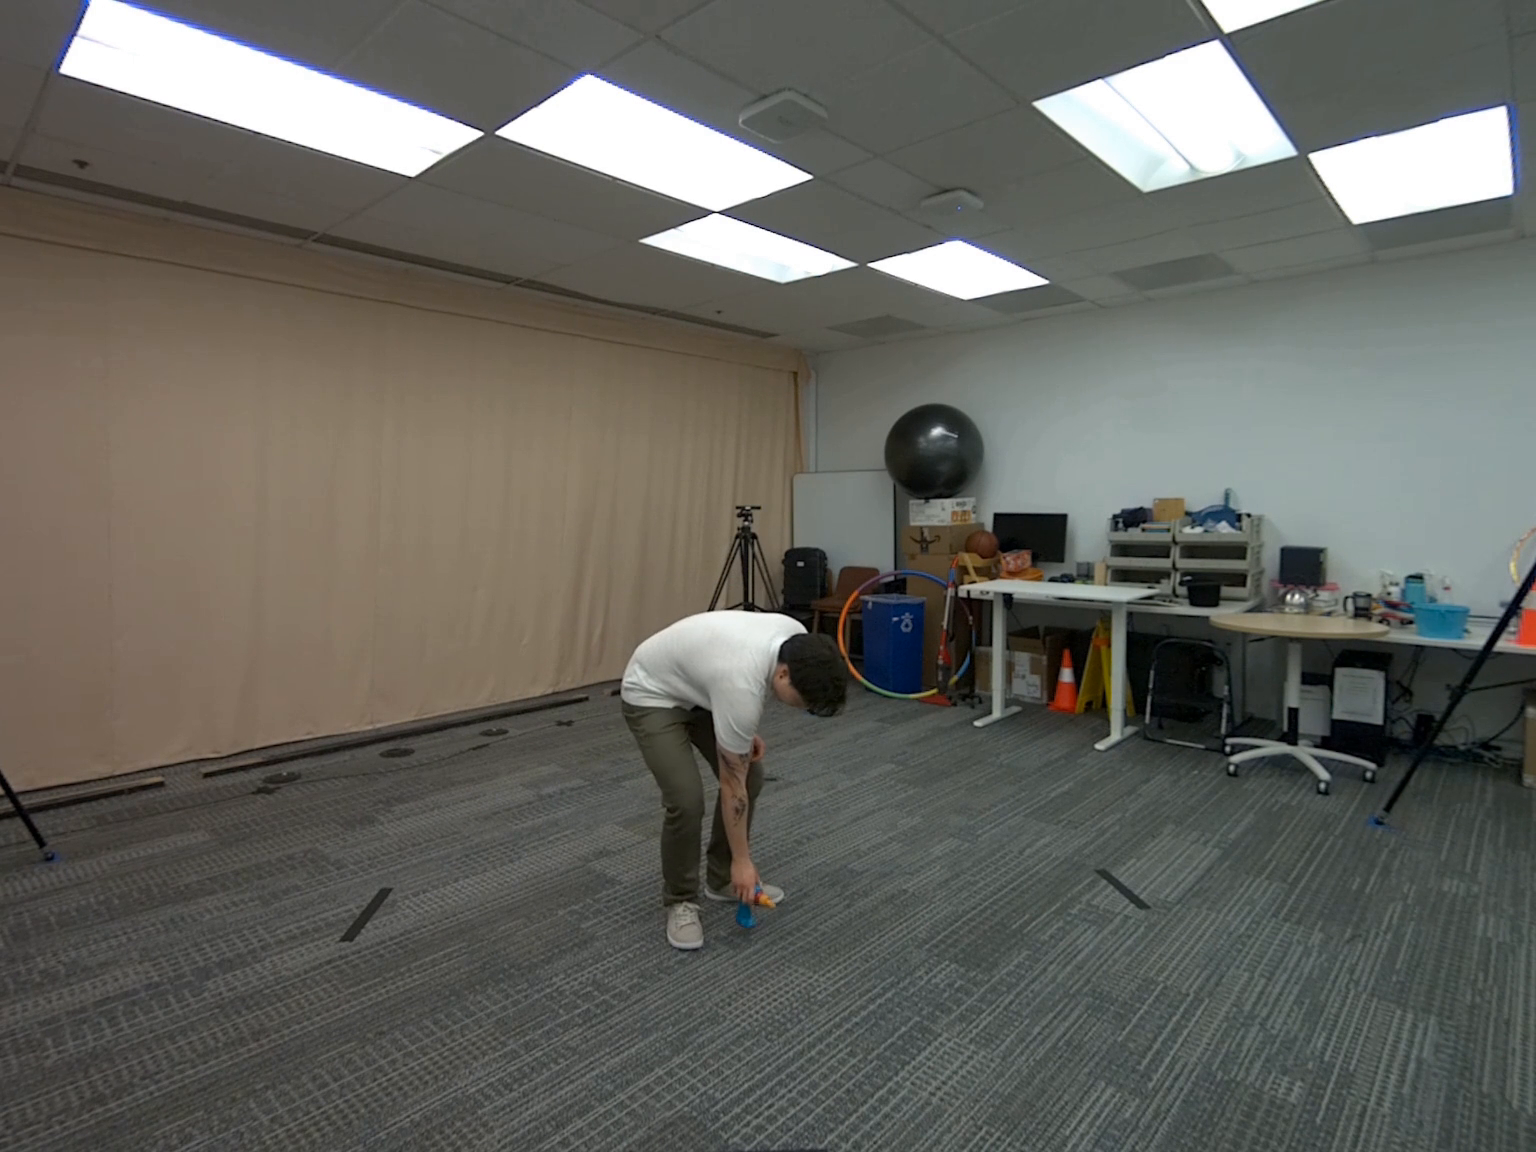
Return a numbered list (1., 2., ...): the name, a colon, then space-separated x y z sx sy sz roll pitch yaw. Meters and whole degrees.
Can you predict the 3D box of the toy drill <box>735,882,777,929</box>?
1. toy drill: -0.040 1.049 2.671 0.176 0.145 0.059 13 12 43
